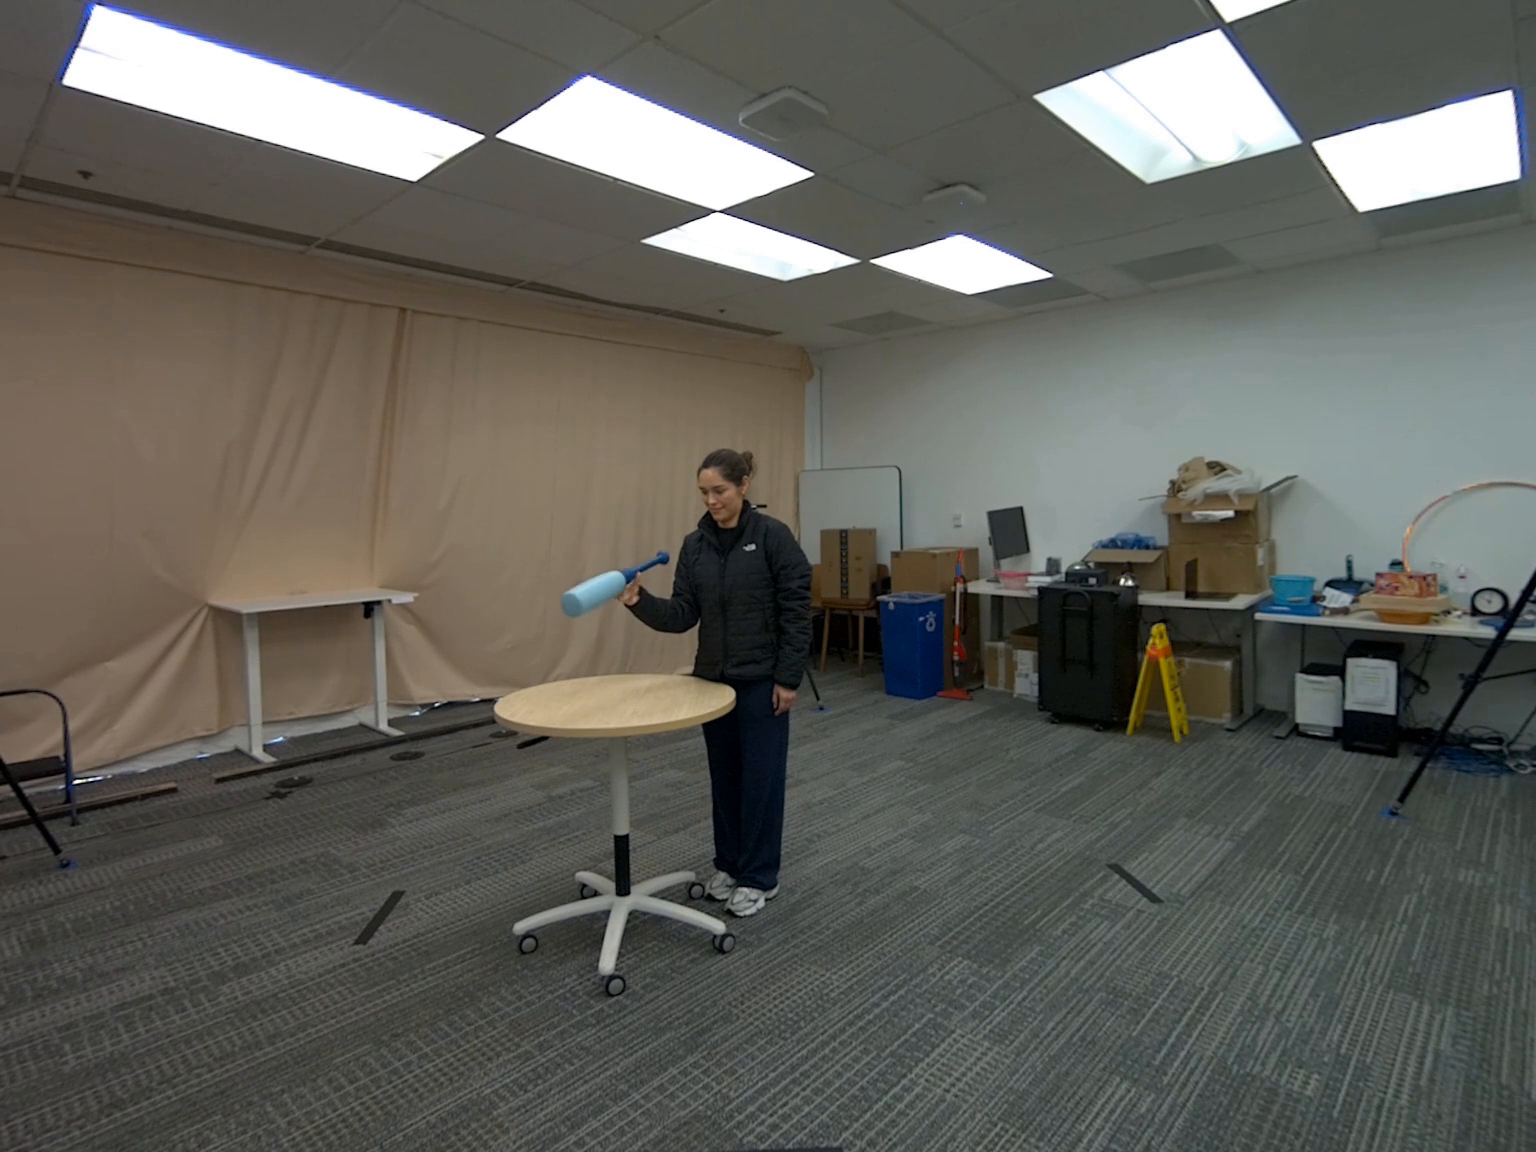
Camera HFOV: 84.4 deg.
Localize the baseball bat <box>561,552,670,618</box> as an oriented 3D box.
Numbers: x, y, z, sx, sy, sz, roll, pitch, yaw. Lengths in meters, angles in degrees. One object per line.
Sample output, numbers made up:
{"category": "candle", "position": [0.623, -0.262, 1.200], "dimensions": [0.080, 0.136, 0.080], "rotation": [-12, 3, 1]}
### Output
{"category": "baseball bat", "position": [-0.459, 0.024, 2.721], "dimensions": [0.091, 0.088, 0.535], "rotation": [1, 17, 24]}
